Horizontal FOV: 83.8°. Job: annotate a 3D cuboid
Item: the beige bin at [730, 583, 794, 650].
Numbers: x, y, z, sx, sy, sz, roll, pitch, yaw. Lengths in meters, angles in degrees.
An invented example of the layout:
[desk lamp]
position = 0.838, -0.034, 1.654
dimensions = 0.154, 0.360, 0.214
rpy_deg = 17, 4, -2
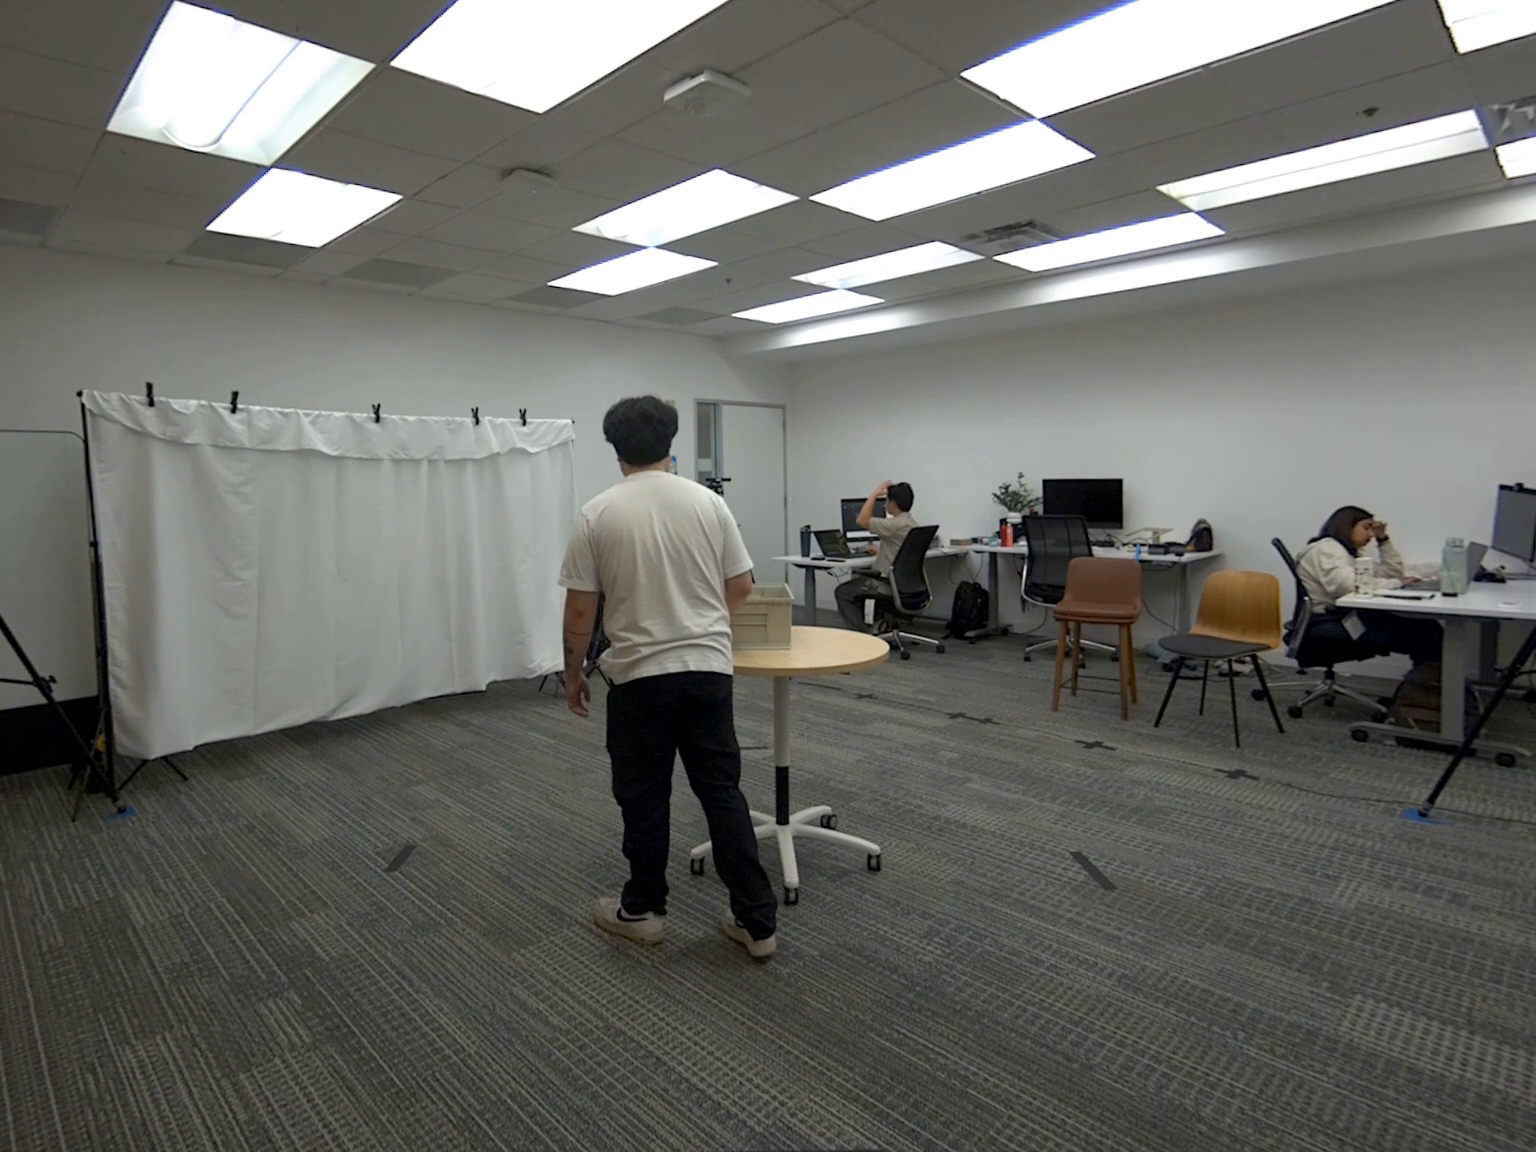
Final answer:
[beige bin]
position = -0.107, 0.149, 3.180
dimensions = 0.377, 0.188, 0.424
rpy_deg = 0, 5, -2
